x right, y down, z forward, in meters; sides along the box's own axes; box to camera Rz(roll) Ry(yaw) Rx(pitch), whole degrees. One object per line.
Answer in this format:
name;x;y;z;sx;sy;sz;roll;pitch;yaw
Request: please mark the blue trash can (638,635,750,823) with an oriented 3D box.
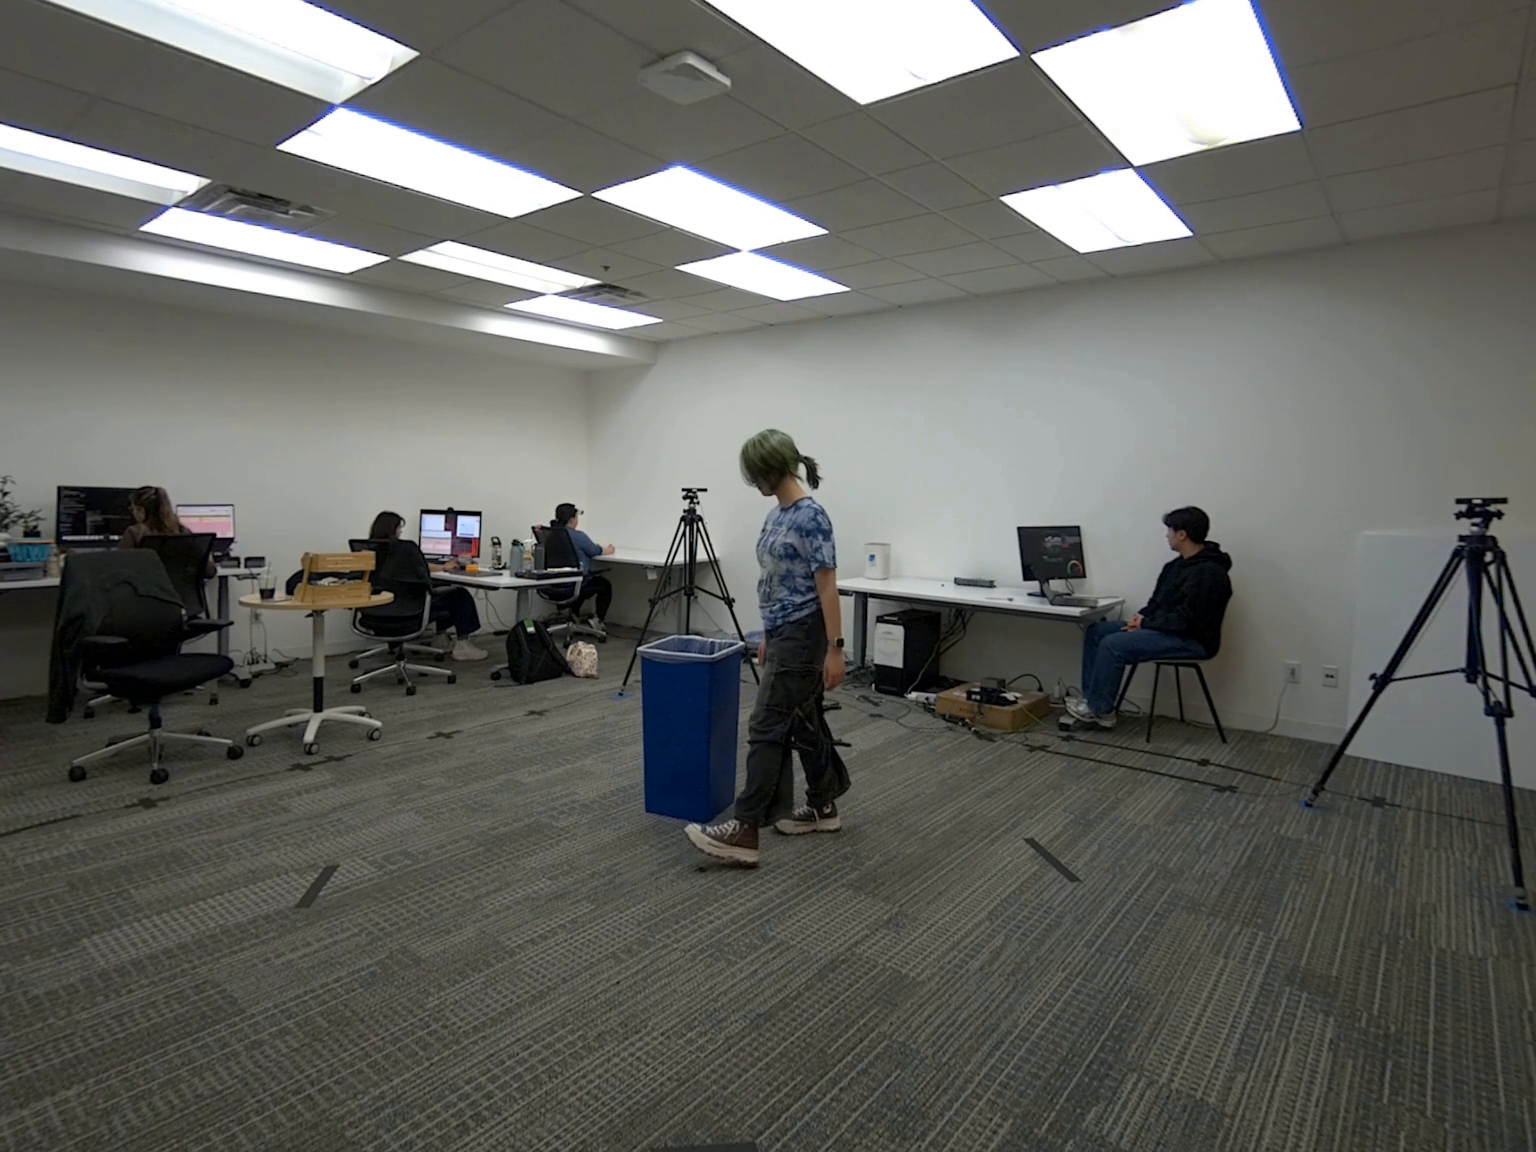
blue trash can;-0.348;0.651;3.706;0.387;0.711;0.366;2;4;23
